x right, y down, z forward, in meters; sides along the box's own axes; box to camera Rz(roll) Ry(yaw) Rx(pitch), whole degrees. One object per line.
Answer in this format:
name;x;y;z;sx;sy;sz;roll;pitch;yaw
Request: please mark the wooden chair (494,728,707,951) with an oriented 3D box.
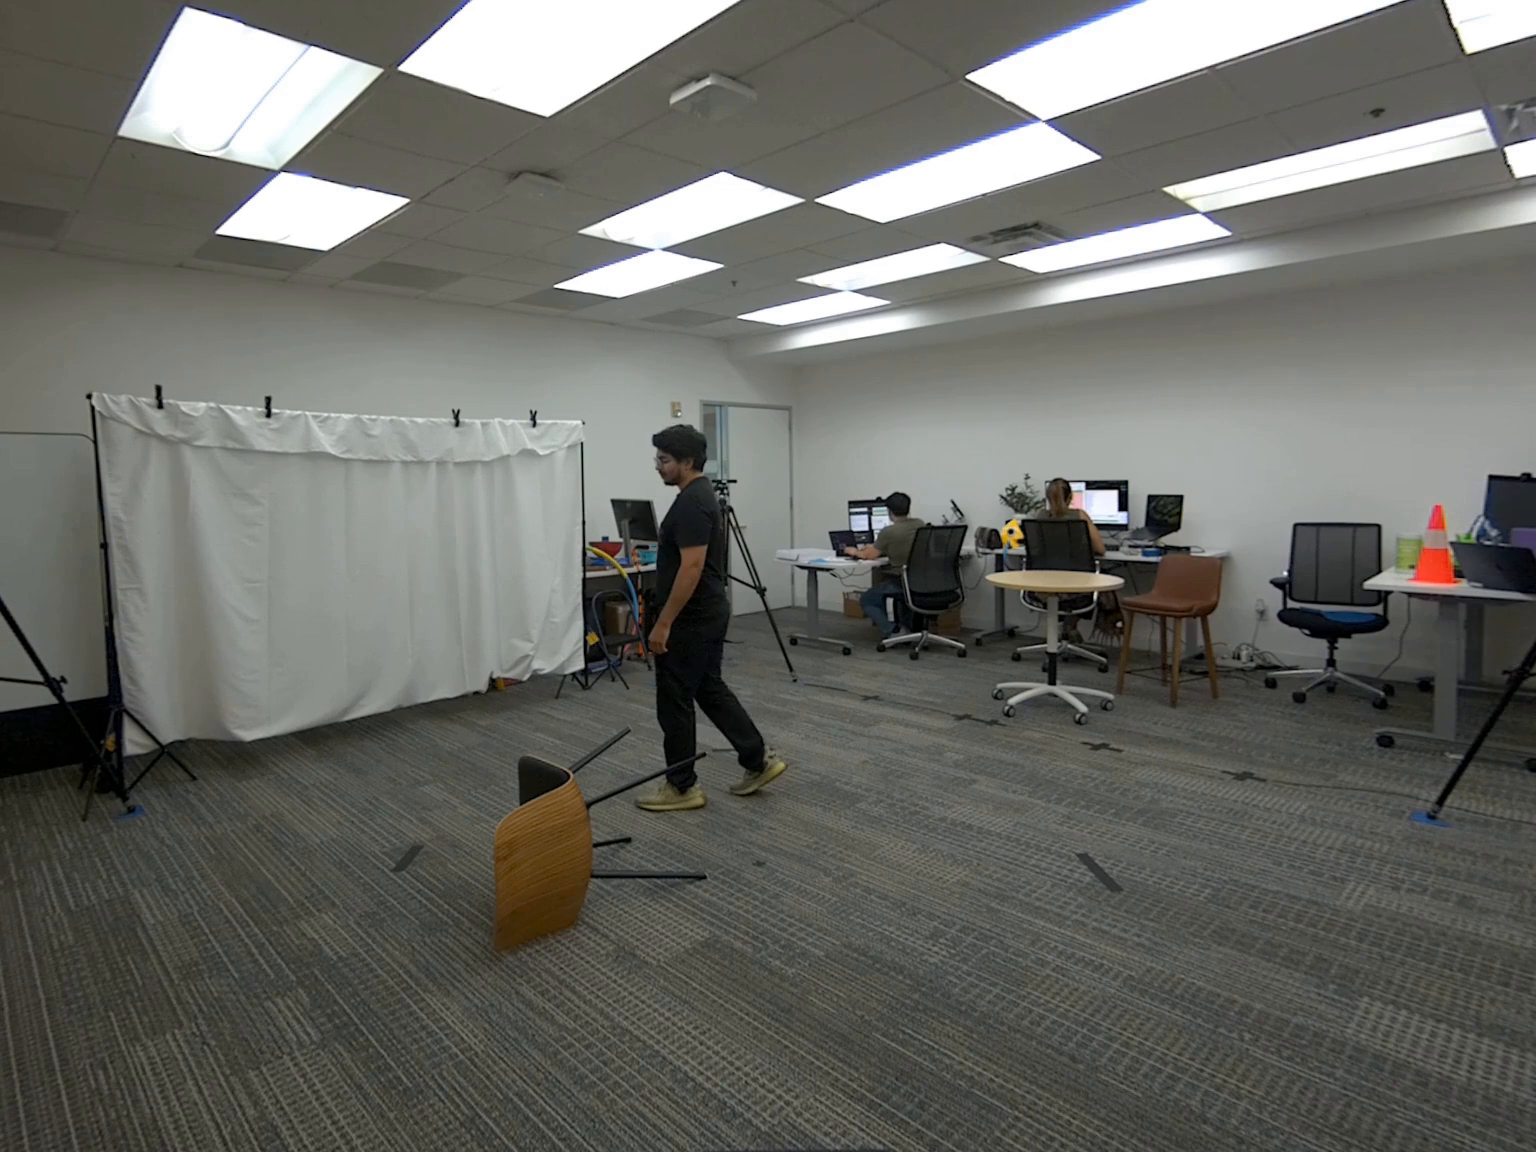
wooden chair;-0.676;0.859;2.865;0.539;0.476;0.855;4;7;41
